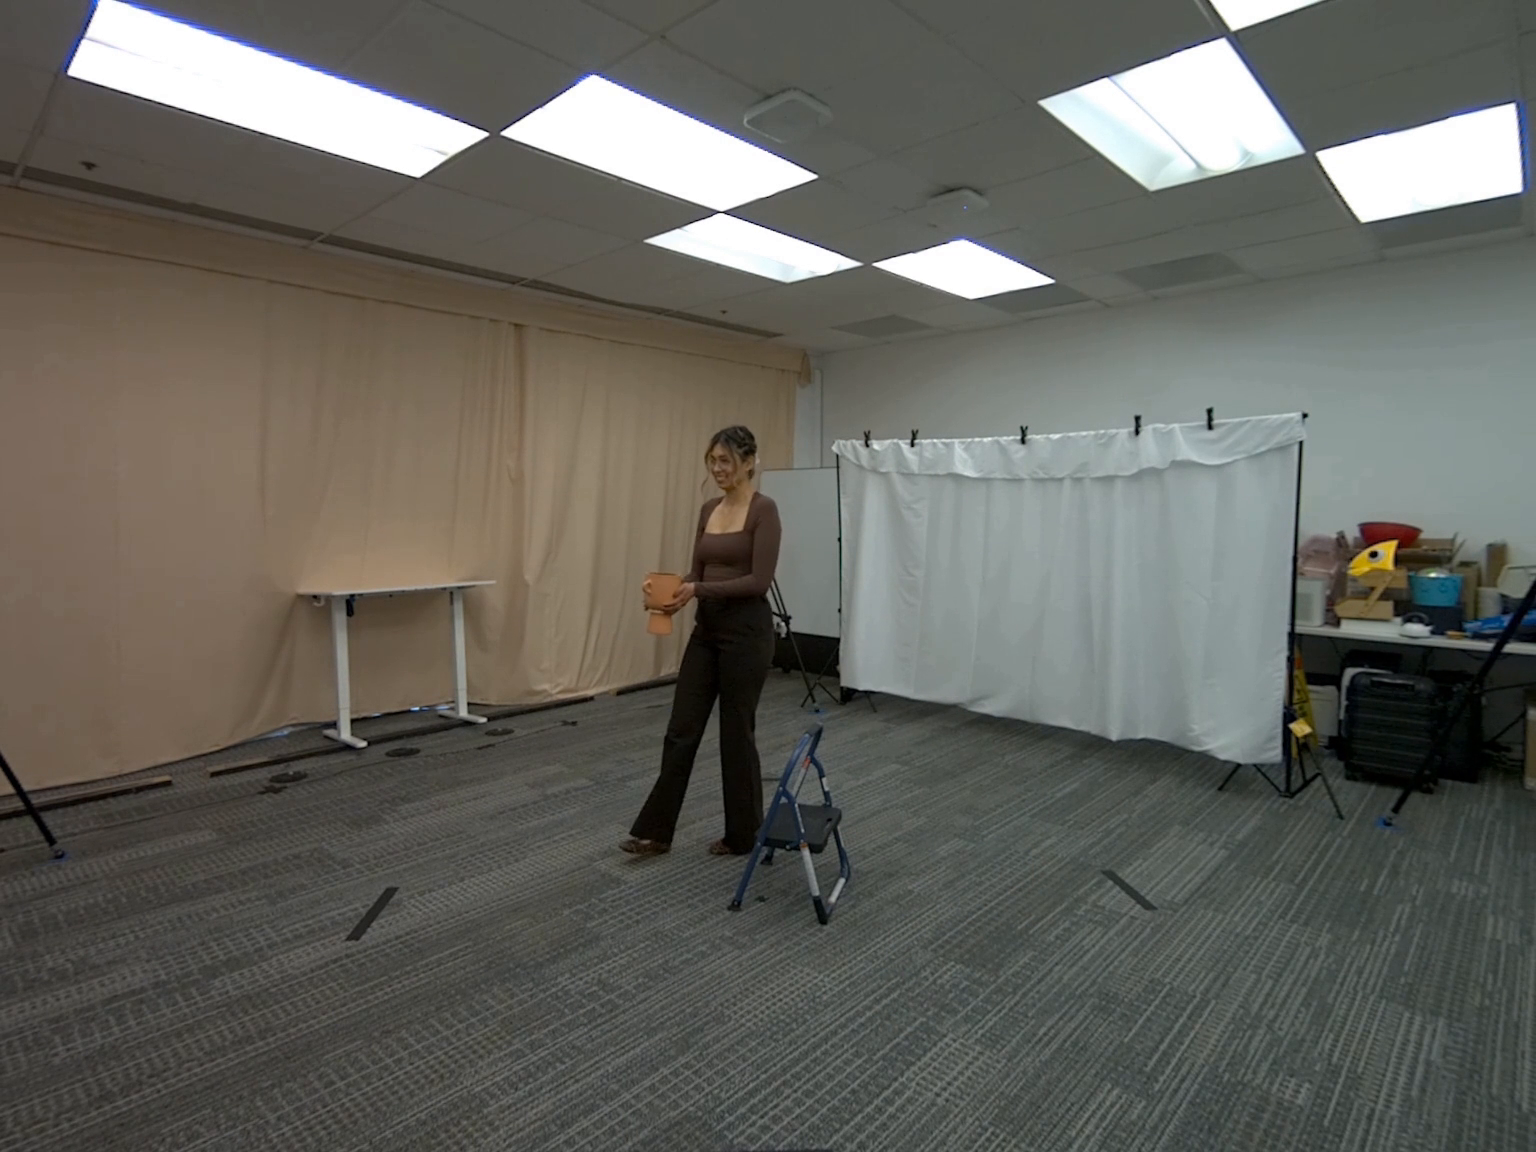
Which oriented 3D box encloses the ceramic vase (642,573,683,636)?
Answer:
[{"bbox_3d":[-0.402,0.103,3.139,0.157,0.219,0.136,2,3,-11],"label":"ceramic vase"}]
